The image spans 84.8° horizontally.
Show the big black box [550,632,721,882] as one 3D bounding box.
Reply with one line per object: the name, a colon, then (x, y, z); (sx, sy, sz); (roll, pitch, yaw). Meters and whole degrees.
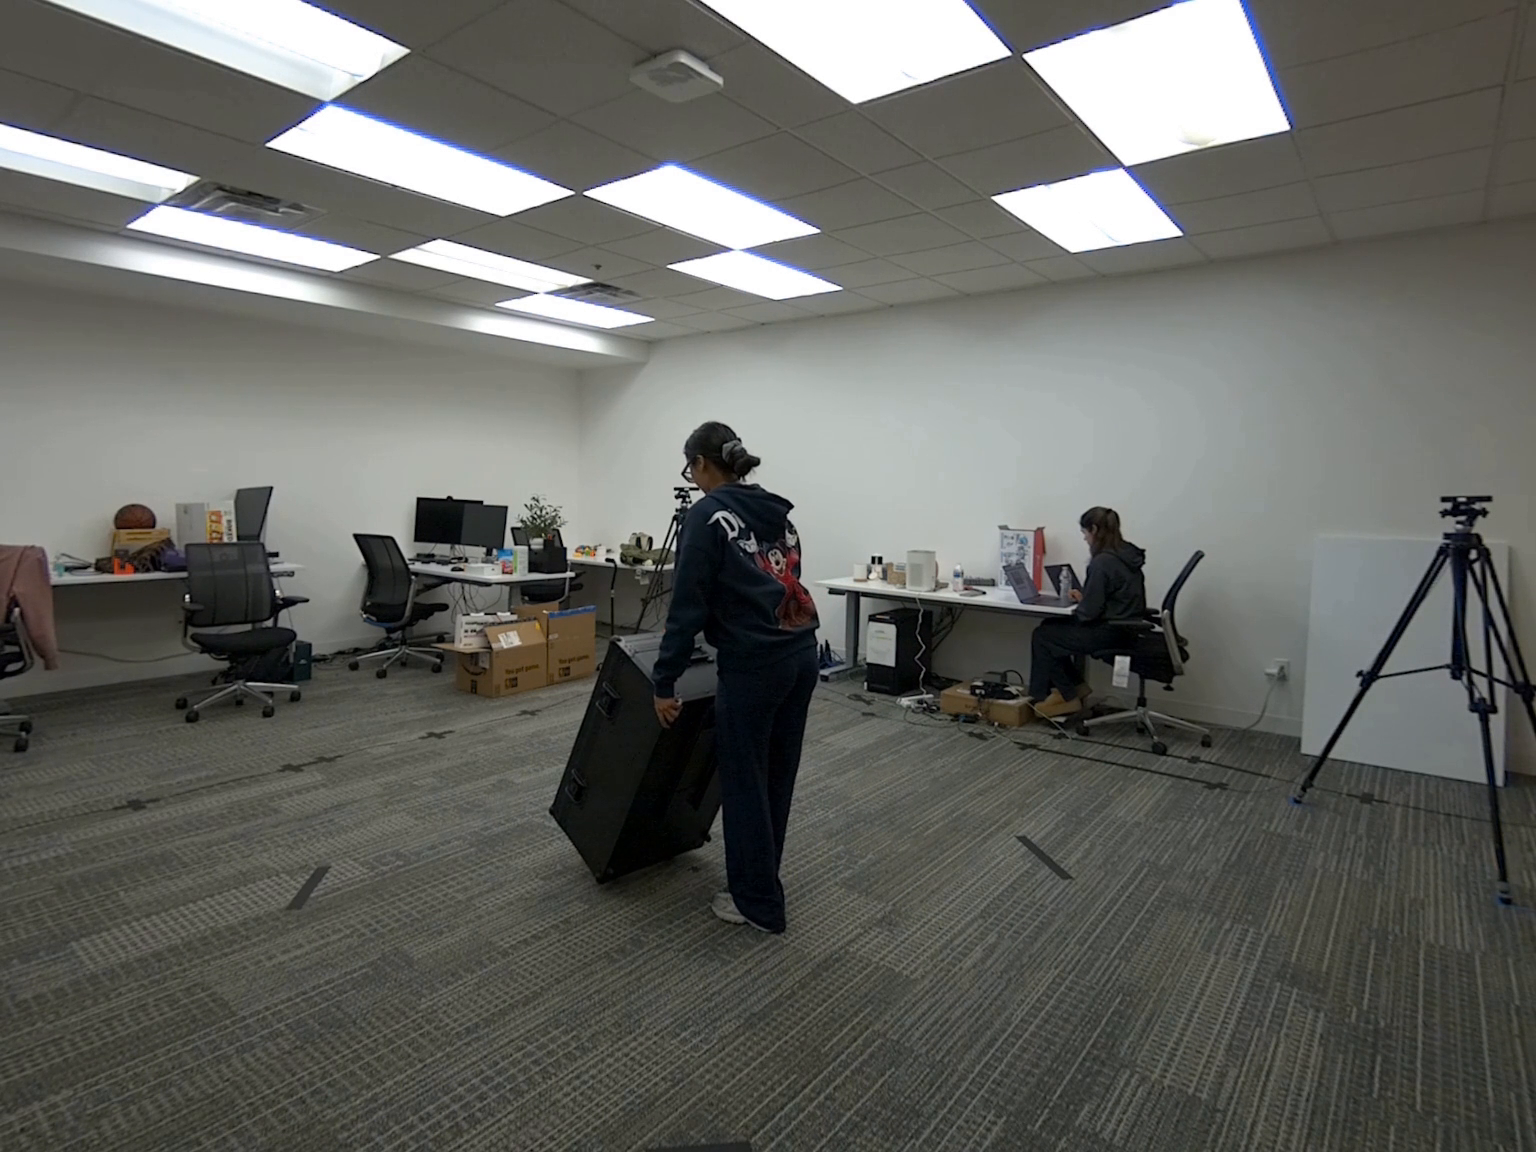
big black box: (-0.399, 0.648, 3.026); (0.505, 0.853, 0.413); (-3, 34, -46)
